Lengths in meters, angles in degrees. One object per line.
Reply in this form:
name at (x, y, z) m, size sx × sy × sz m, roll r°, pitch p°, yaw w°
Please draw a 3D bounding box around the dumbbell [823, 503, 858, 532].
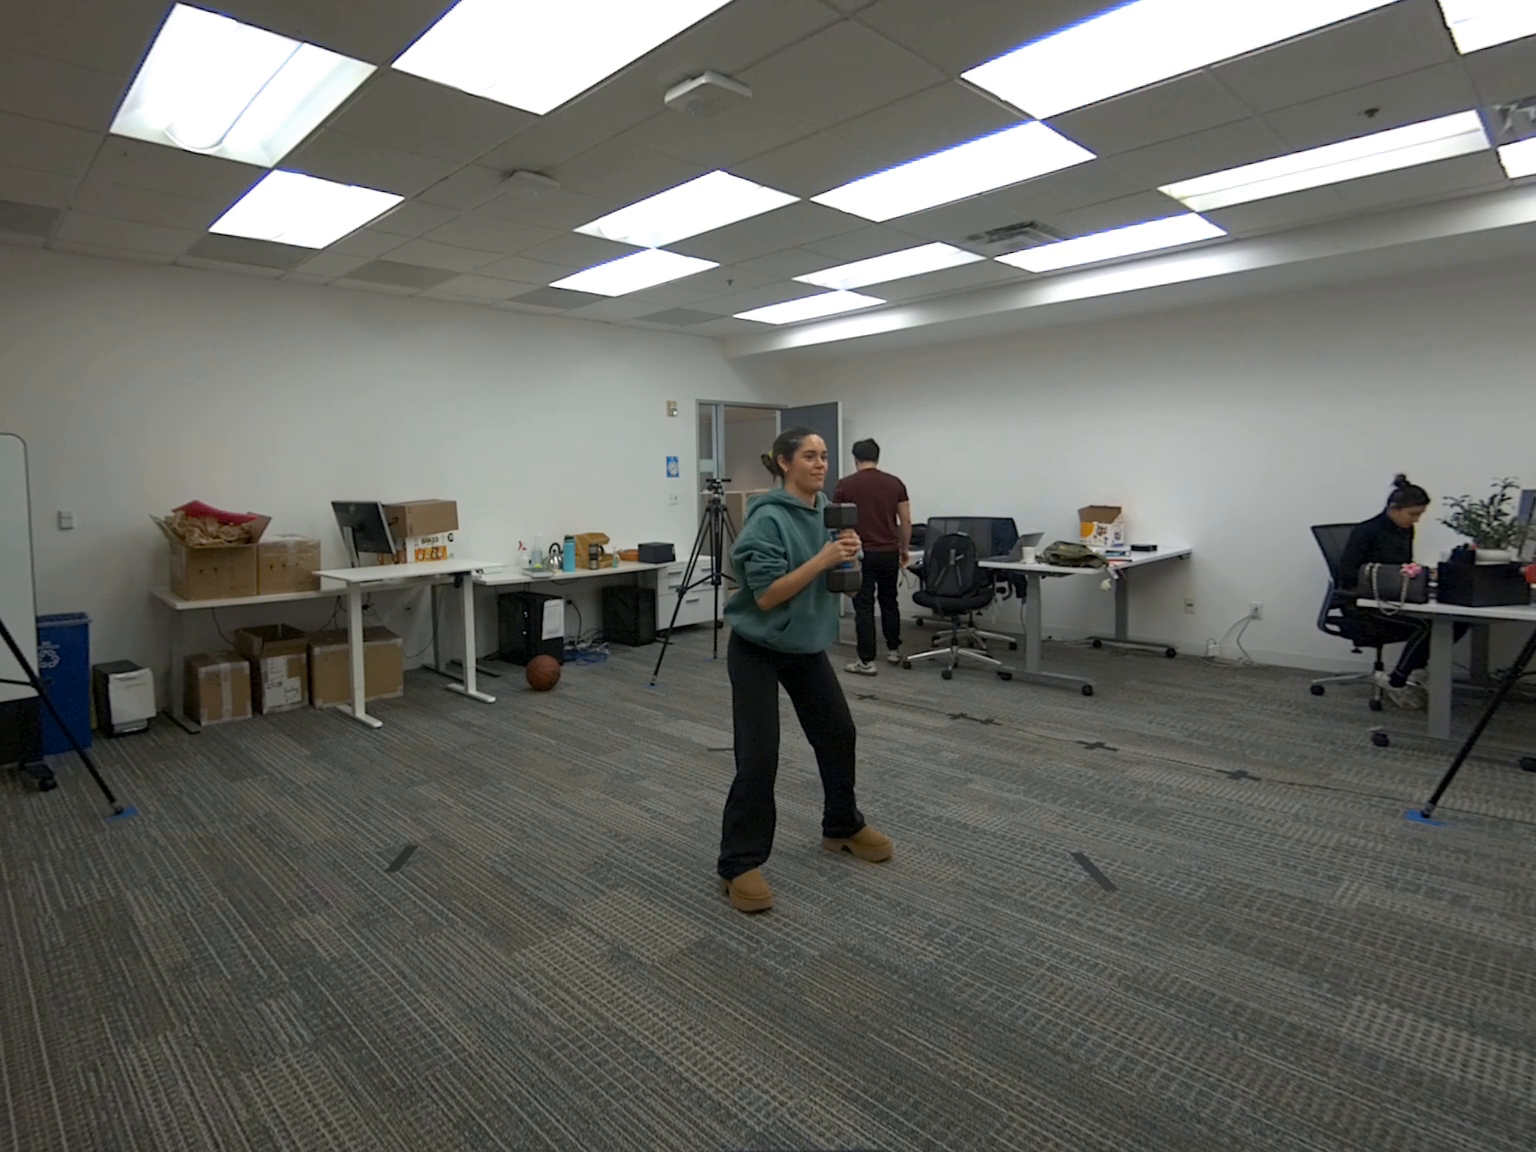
dumbbell at (0.223, -0.078, 2.830) m, size 0.108 × 0.293 × 0.123 m, roll -5°, pitch 0°, yaw -2°
